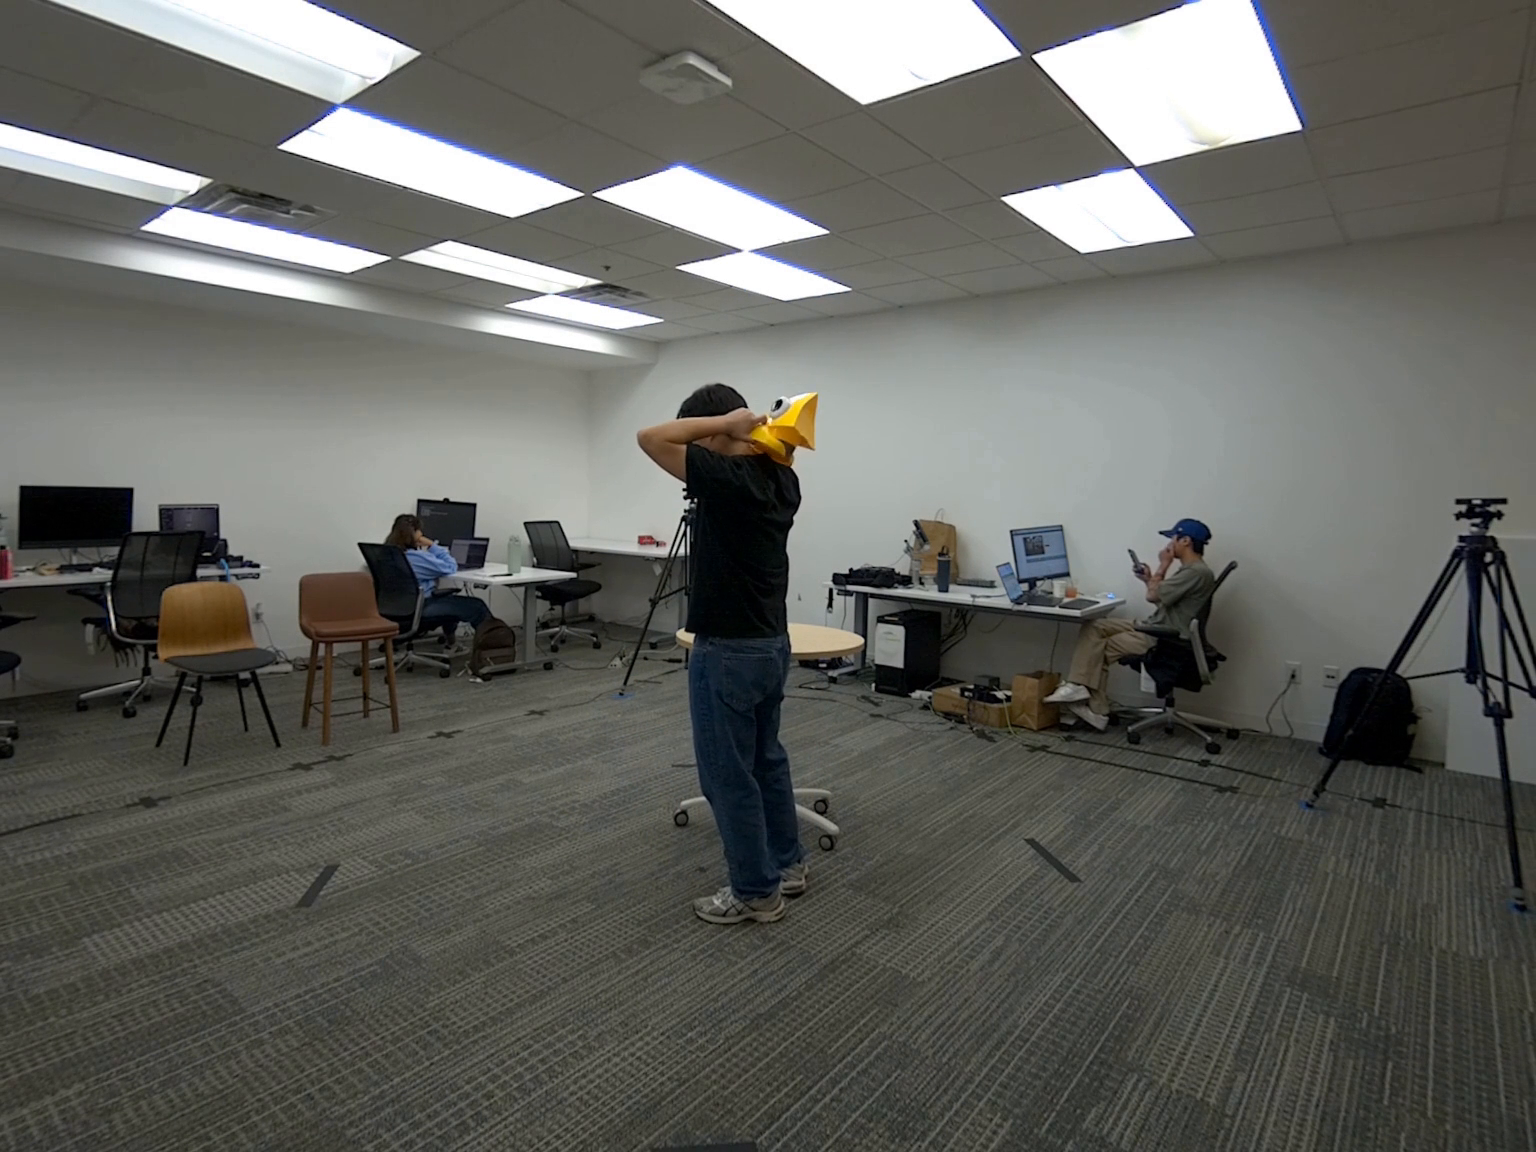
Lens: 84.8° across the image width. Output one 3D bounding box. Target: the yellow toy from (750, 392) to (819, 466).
[{"bbox_3d":[0.041,-0.504,2.650,0.200,0.231,0.197,22,-4,27],"label":"yellow toy"}]
